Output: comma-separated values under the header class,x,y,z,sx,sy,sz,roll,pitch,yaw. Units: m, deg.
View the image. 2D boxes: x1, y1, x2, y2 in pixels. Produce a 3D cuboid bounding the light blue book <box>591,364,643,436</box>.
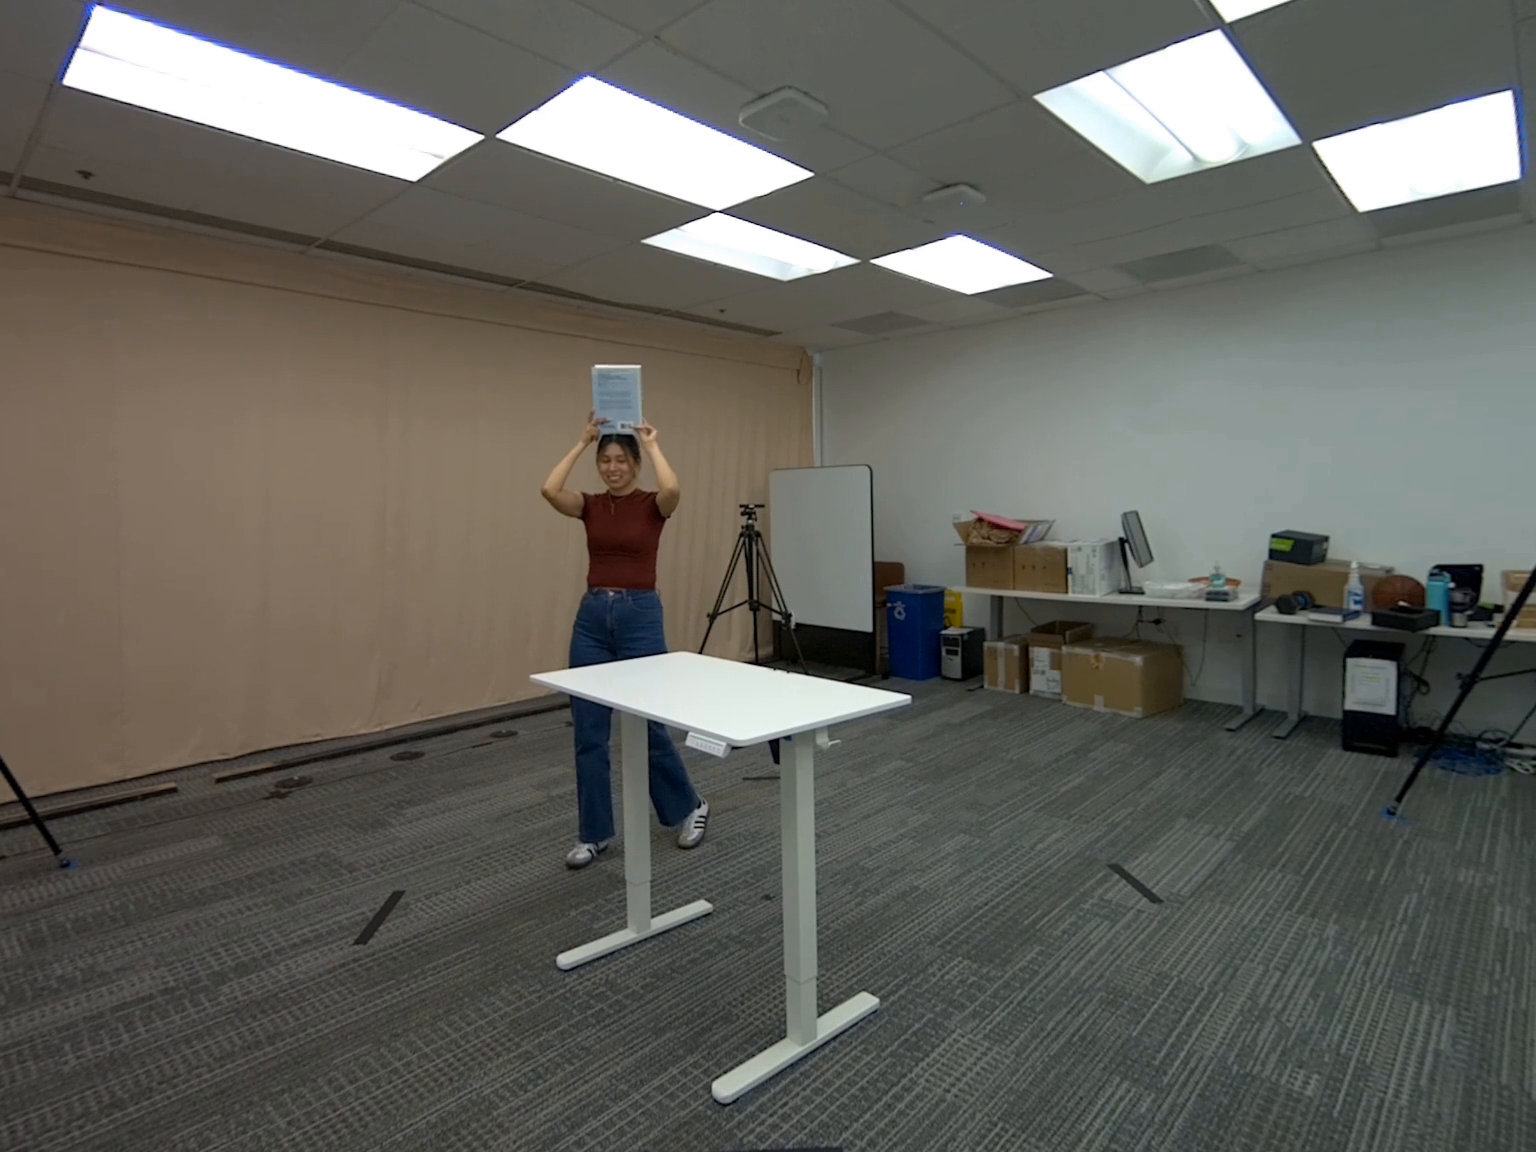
class,x,y,z,sx,sy,sz,roll,pitch,yaw
light blue book,-0.591,-0.693,3.319,0.191,0.258,0.059,0,17,1
